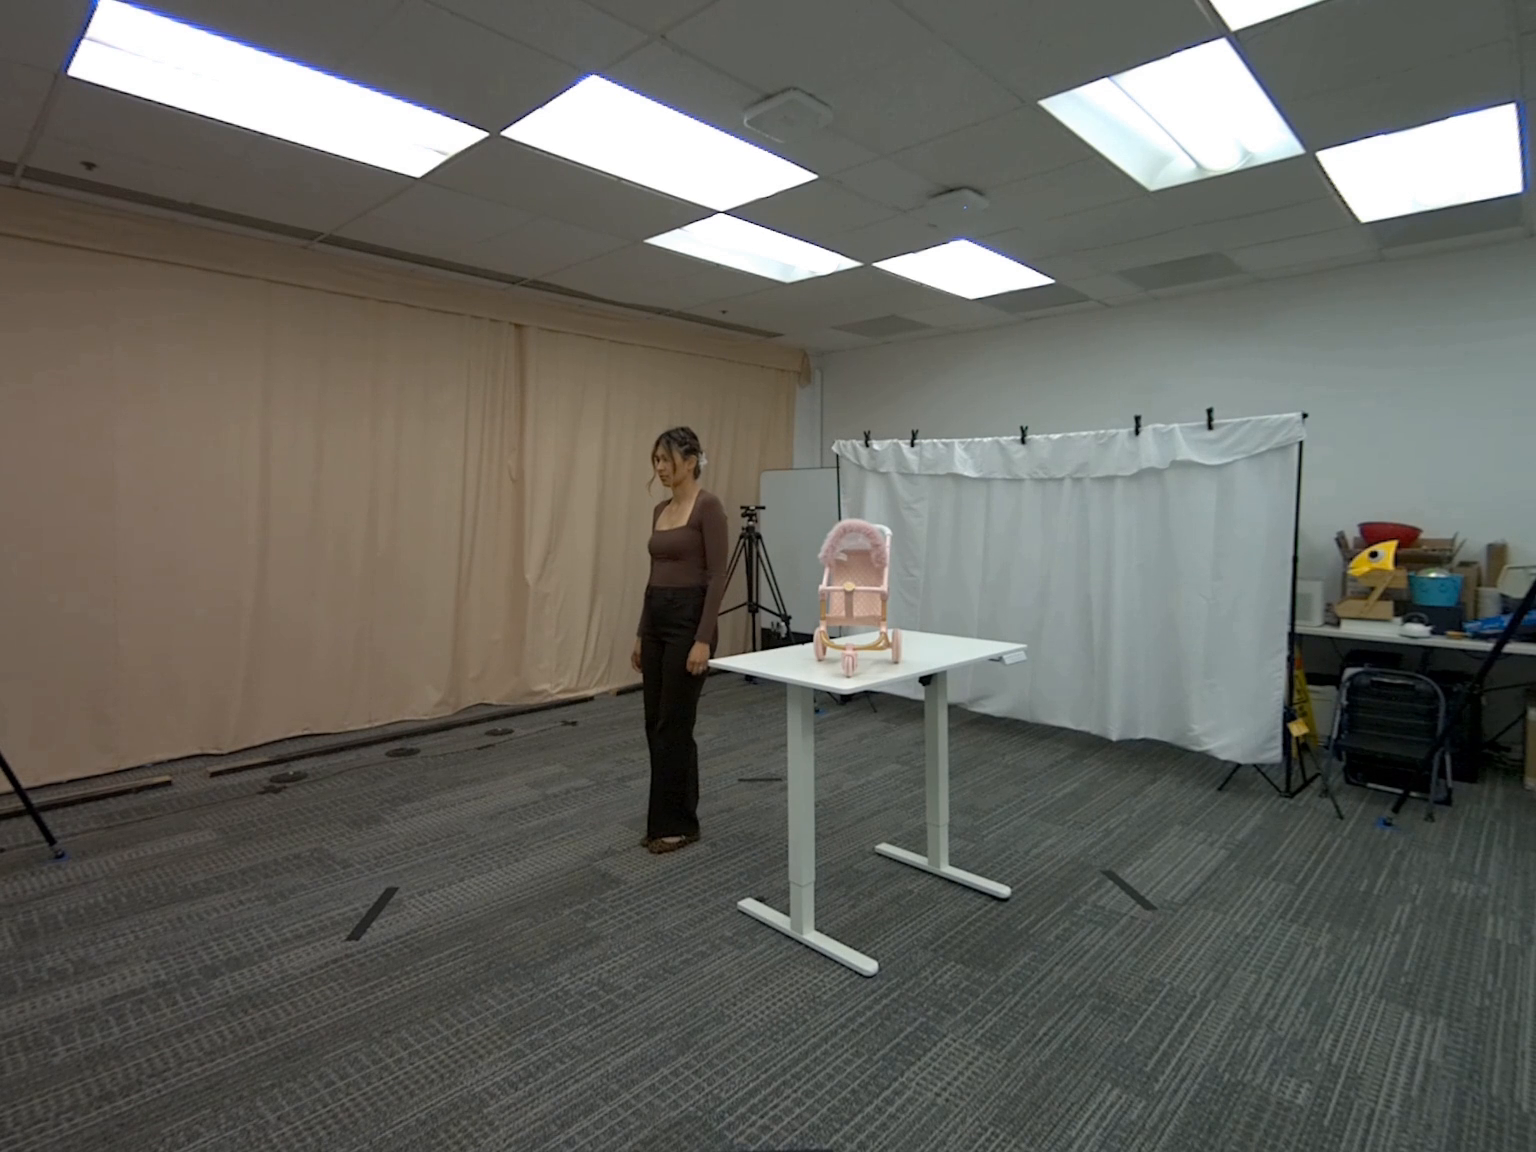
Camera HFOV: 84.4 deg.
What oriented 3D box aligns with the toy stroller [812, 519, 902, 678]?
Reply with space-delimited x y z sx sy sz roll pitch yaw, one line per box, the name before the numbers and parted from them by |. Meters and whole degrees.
toy stroller | 0.282 0.063 2.678 0.287 0.538 0.332 0 -11 18
